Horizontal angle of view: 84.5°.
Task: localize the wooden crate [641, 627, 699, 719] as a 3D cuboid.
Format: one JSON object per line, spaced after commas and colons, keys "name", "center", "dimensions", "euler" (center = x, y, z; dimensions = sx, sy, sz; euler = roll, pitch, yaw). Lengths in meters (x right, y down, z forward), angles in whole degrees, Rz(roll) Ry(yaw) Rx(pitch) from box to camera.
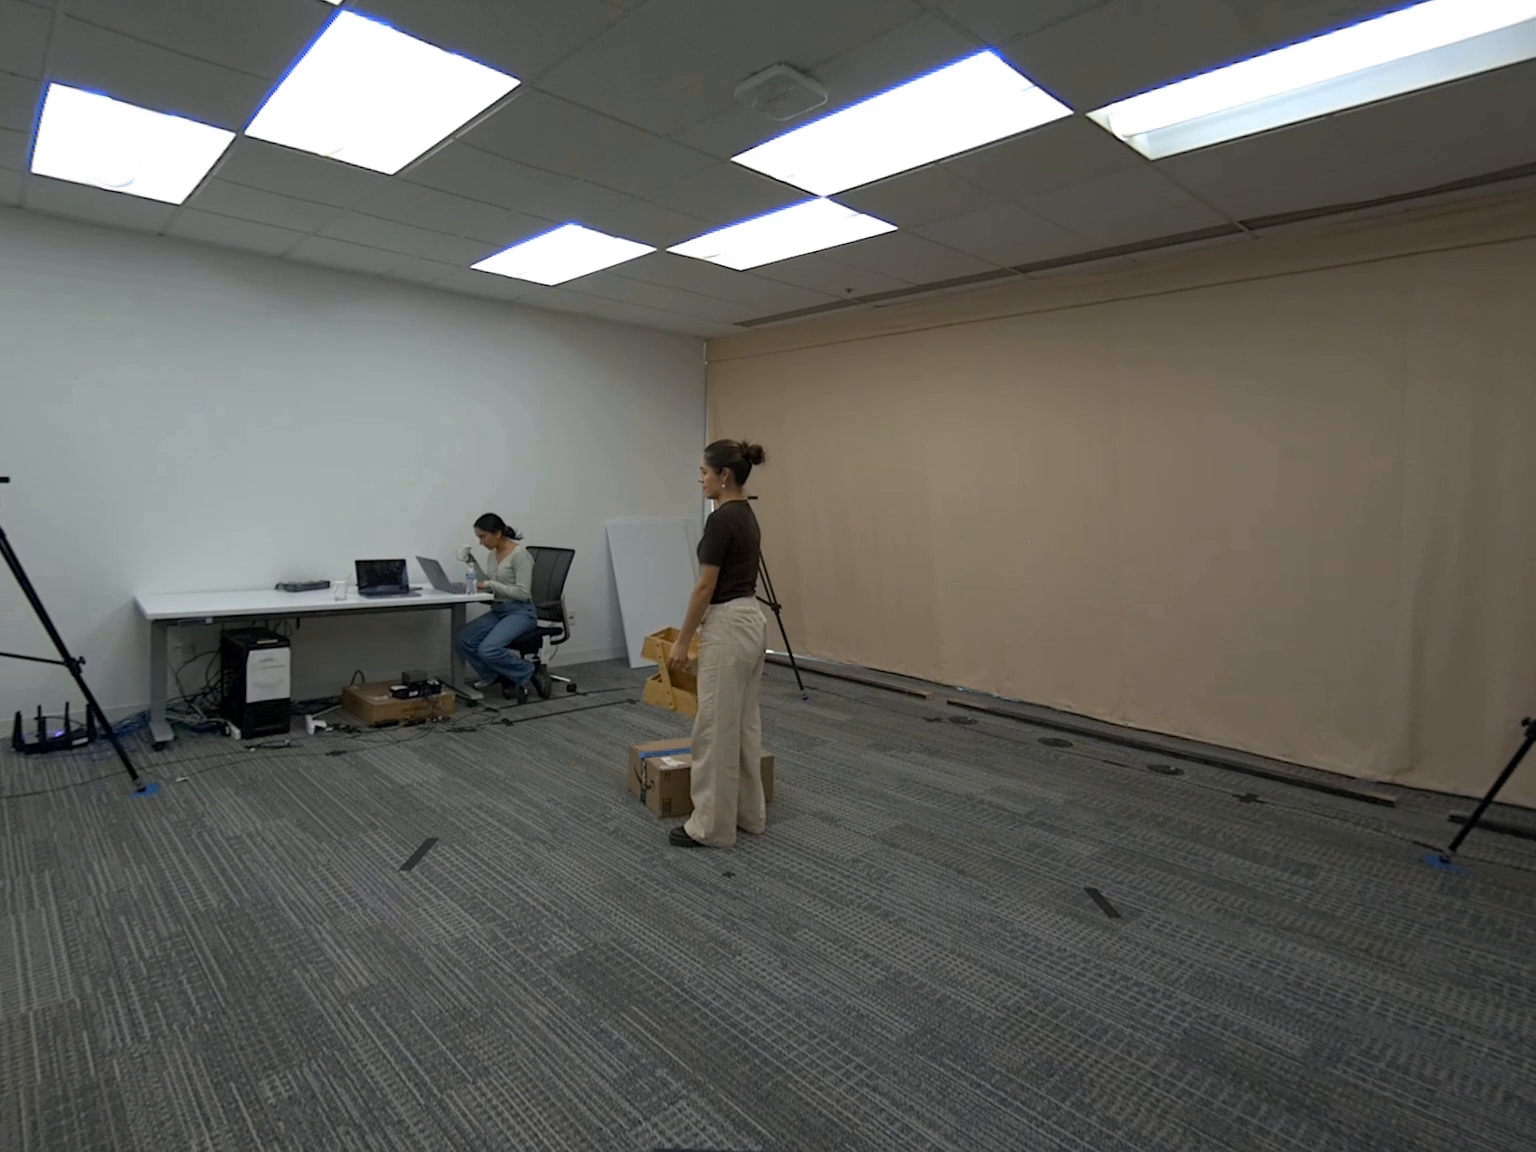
{"name": "wooden crate", "center": [-0.351, 0.389, 3.491], "dimensions": [0.306, 0.272, 0.321], "euler": [17, 7, 11]}
